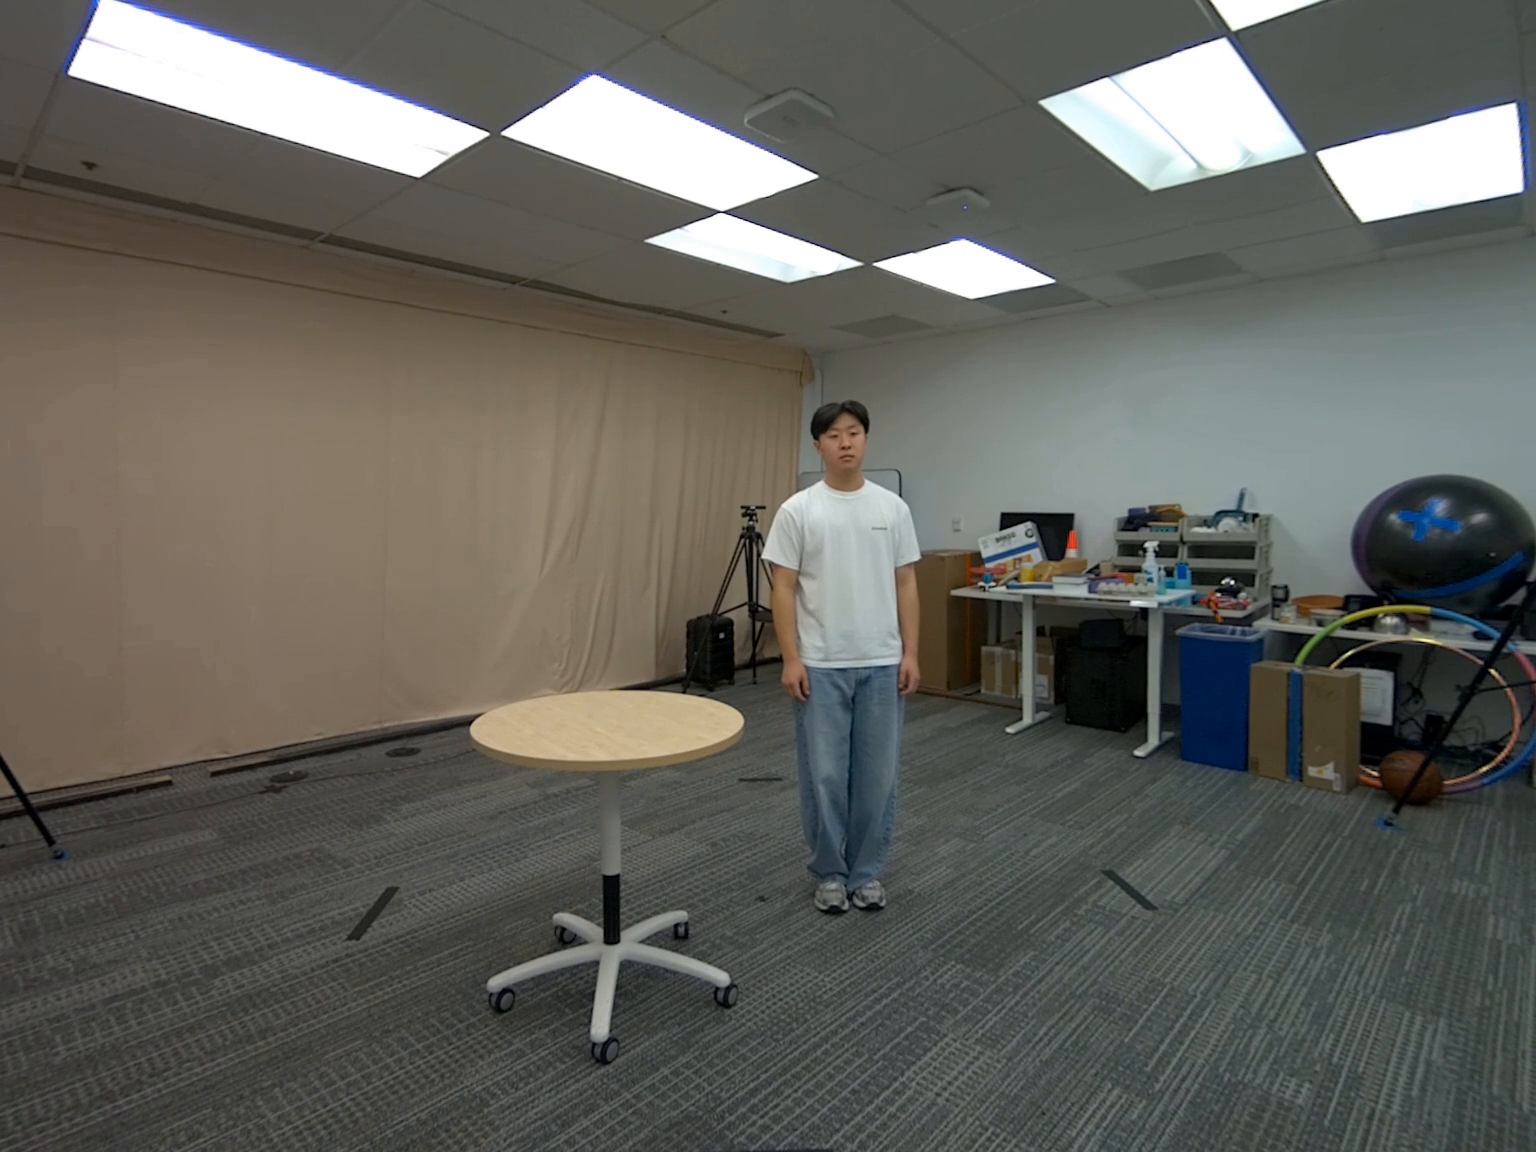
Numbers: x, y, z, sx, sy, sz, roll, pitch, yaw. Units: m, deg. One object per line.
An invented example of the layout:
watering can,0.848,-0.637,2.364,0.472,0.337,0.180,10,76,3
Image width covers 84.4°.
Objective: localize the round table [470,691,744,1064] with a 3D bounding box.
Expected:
round table,-0.440,0.807,2.413,0.763,0.792,0.767,0,4,-2
